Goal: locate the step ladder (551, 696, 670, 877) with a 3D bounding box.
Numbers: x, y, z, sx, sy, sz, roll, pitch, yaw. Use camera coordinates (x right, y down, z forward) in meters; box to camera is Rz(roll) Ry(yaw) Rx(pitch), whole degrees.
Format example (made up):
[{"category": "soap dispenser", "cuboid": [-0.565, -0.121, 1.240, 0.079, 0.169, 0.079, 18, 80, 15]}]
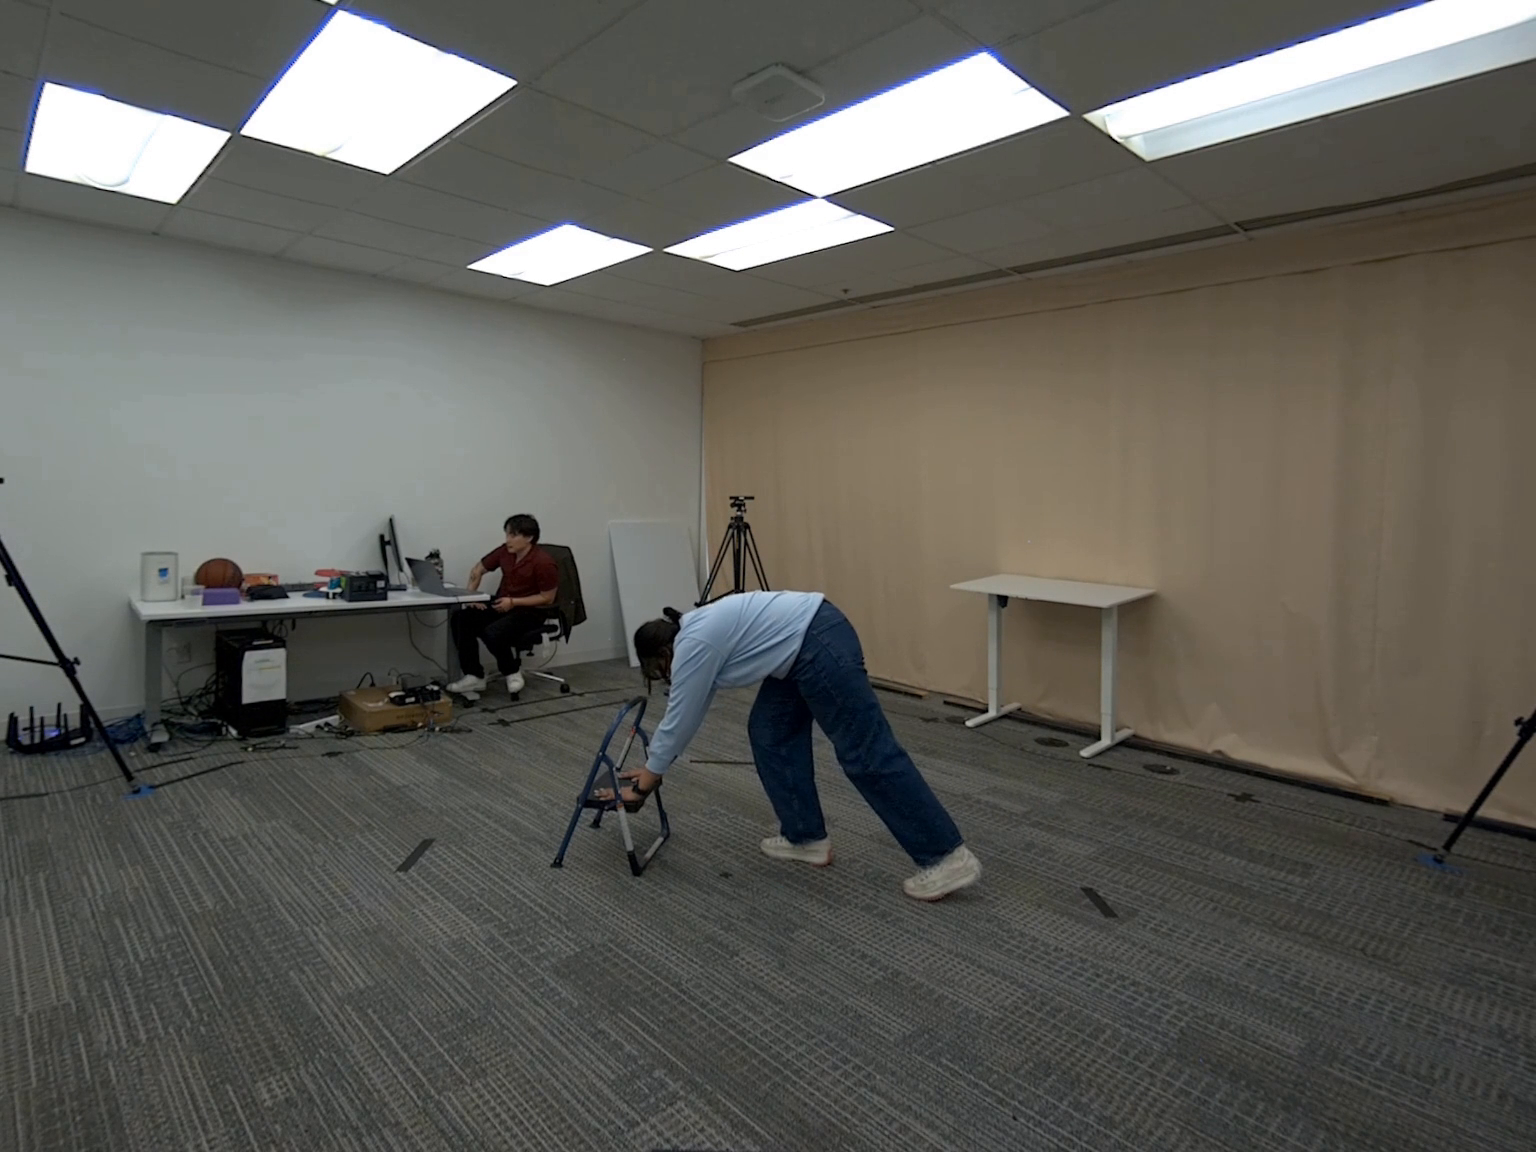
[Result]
[{"category": "step ladder", "cuboid": [-0.598, 0.771, 3.290, 0.352, 0.604, 0.428, 2, 4, 10]}]
